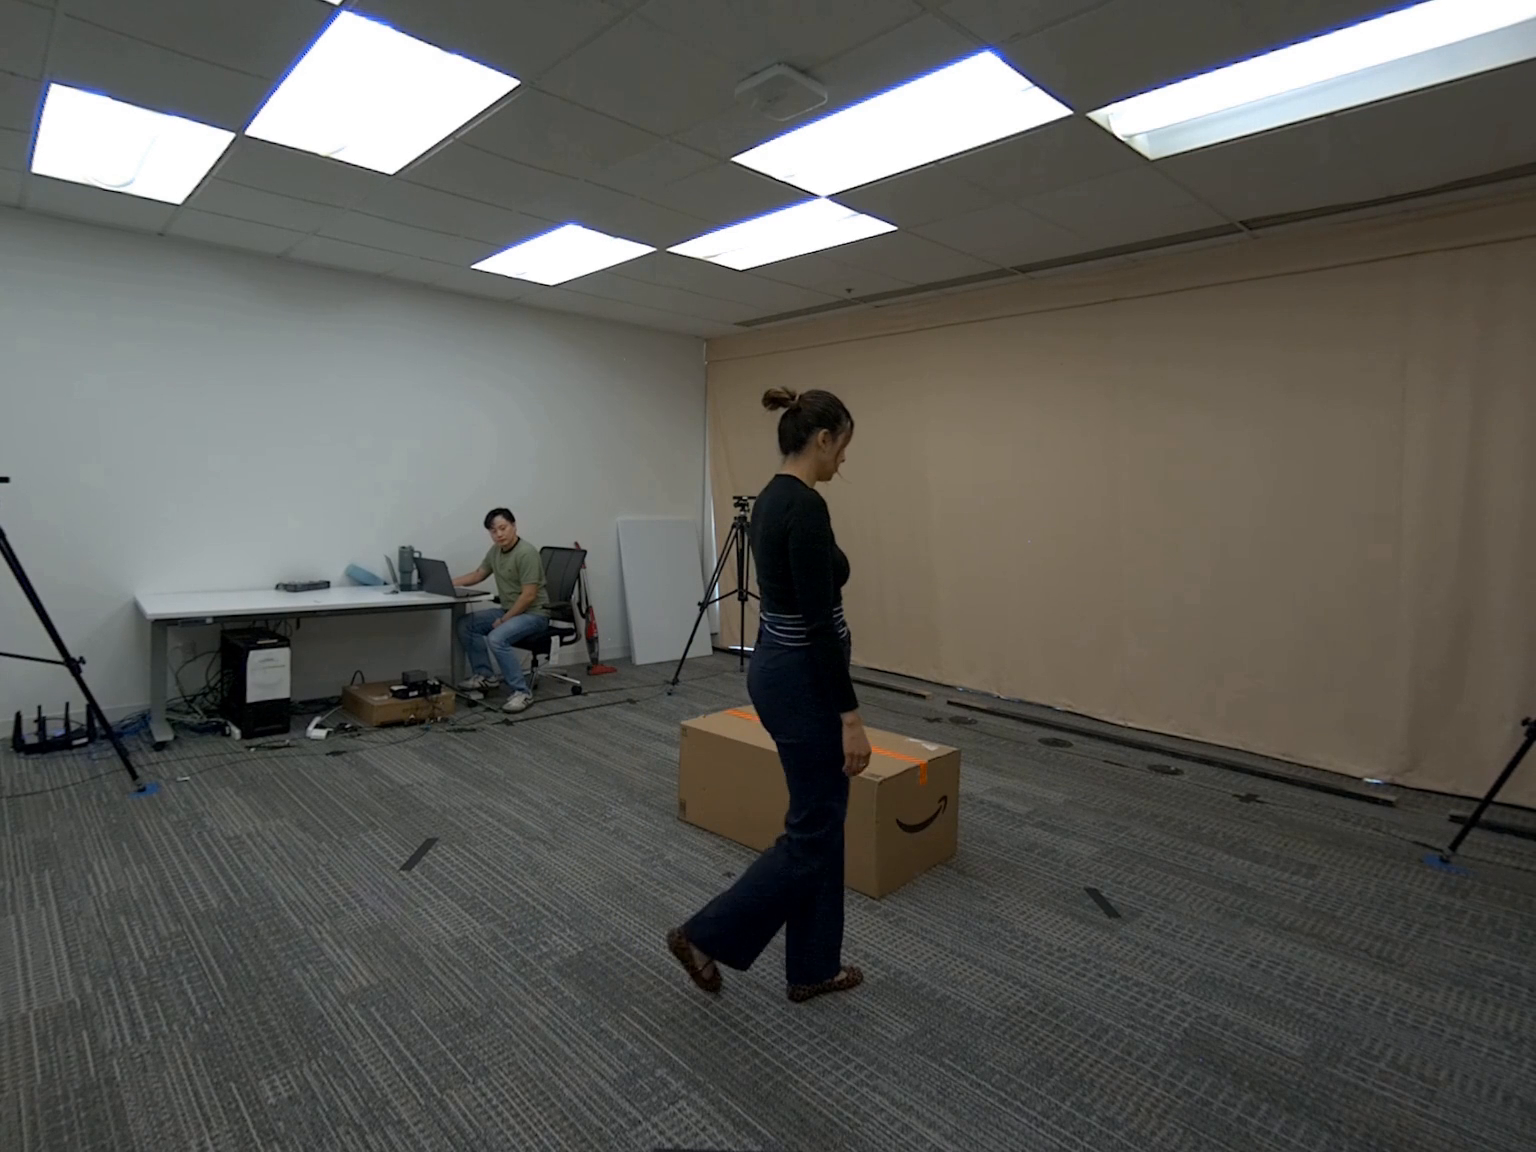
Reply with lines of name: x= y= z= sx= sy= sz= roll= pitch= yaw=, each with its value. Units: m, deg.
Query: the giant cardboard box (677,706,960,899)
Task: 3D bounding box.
giant cardboard box: x=0.179 y=0.864 z=3.474 sx=1.052 sy=0.425 sz=0.564 roll=6 pitch=5 yaw=42
